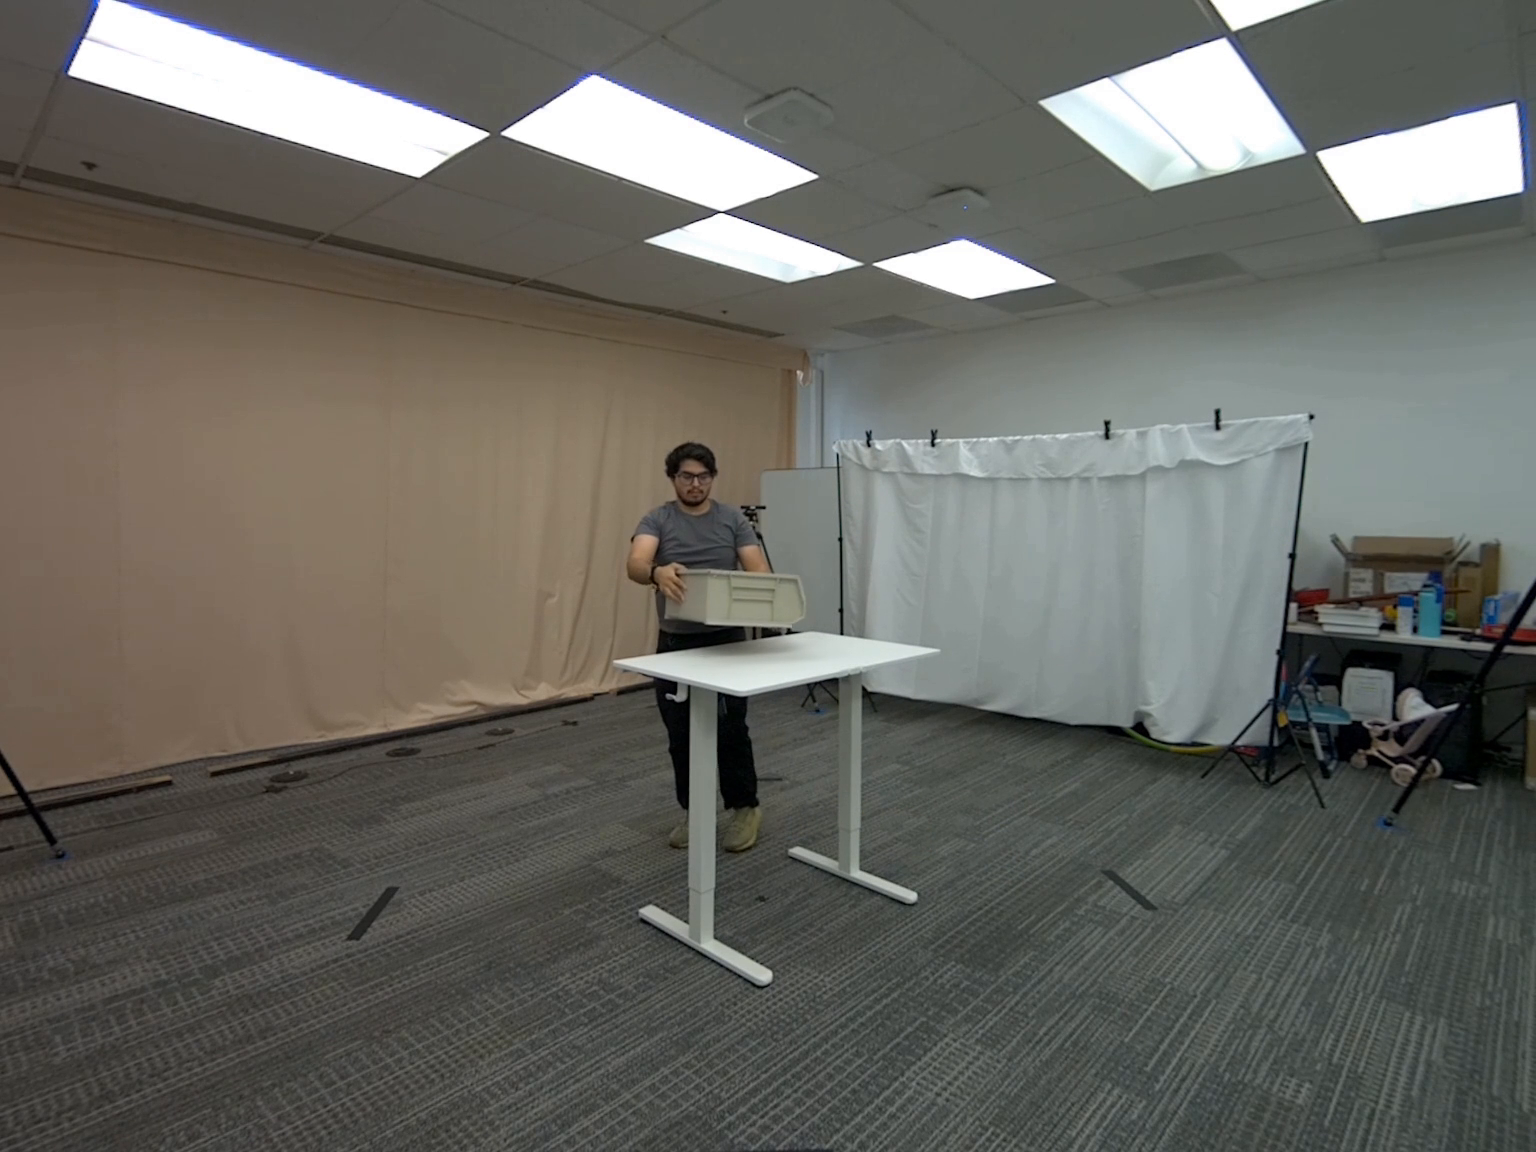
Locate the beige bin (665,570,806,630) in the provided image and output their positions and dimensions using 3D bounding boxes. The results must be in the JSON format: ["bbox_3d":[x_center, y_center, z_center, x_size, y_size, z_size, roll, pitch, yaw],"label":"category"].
[{"bbox_3d":[-0.128,0.081,3.002,0.368,0.189,0.432,3,-1,-25],"label":"beige bin"}]
